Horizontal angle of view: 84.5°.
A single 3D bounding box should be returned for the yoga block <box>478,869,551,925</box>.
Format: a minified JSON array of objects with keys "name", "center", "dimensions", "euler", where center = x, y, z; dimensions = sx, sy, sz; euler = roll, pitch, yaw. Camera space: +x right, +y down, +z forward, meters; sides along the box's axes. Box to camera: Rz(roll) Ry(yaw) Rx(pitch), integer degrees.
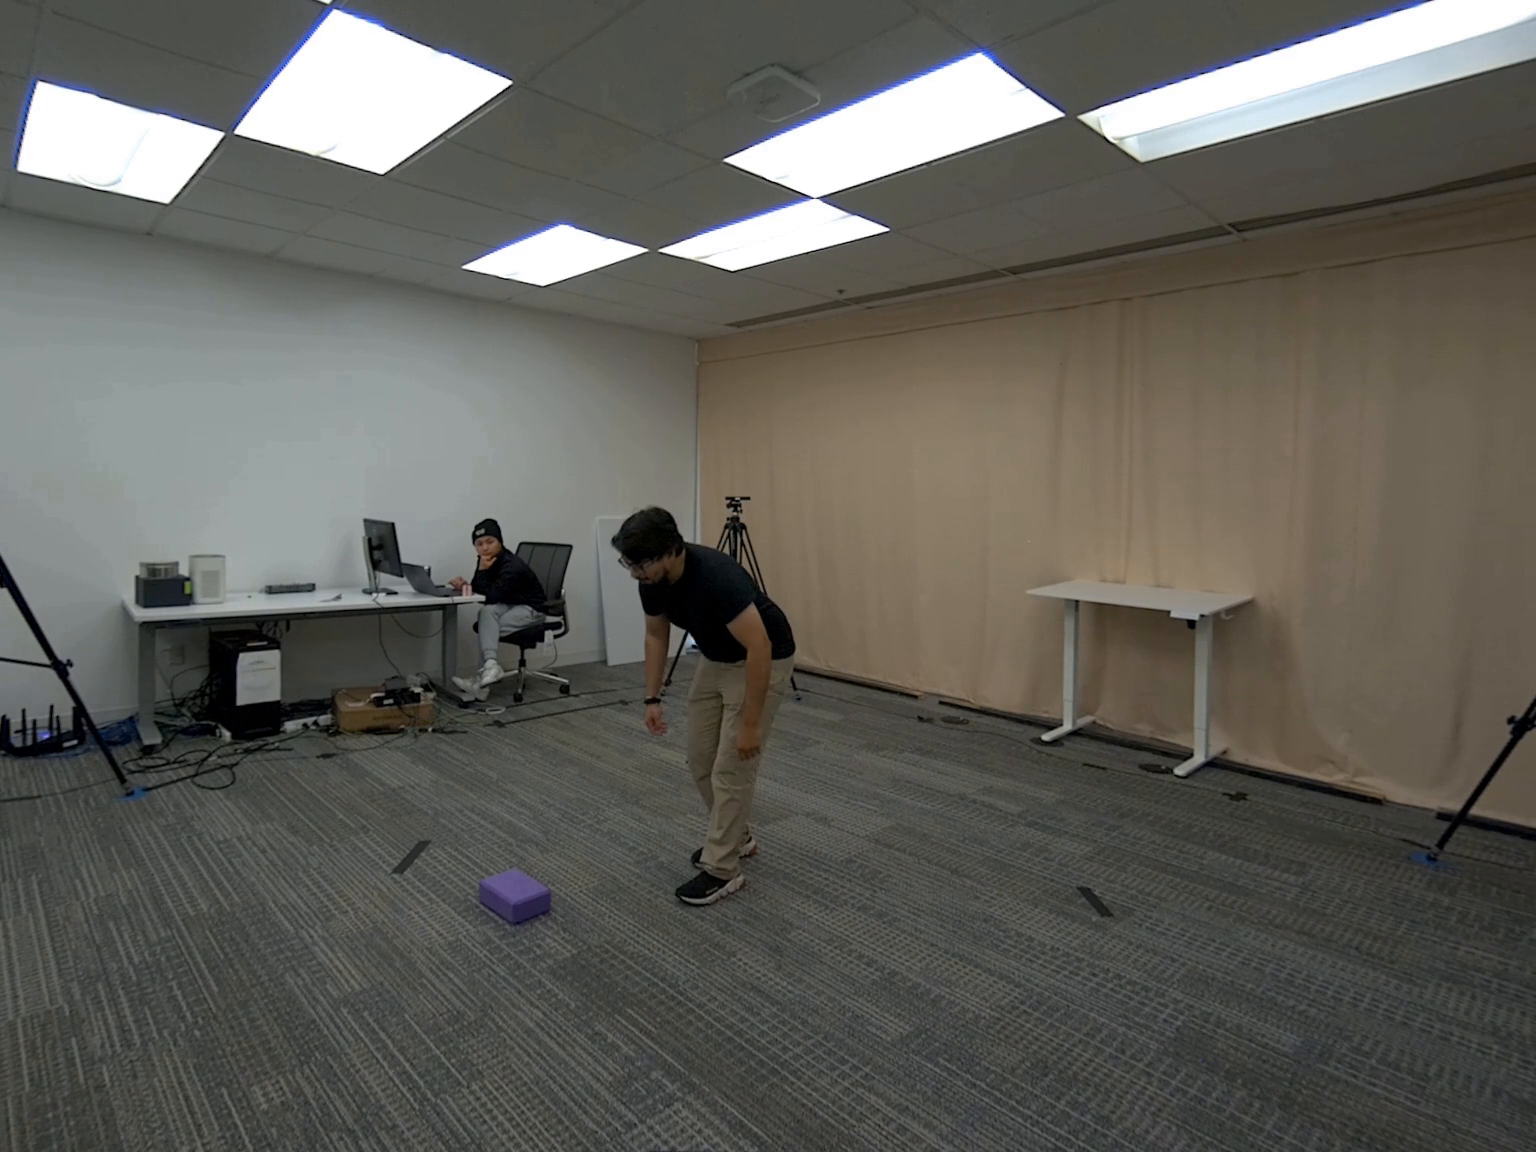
[{"name":"yoga block","center":[-0.859,1.077,2.833],"dimensions":[0.235,0.076,0.146],"euler":[6,8,43]}]
